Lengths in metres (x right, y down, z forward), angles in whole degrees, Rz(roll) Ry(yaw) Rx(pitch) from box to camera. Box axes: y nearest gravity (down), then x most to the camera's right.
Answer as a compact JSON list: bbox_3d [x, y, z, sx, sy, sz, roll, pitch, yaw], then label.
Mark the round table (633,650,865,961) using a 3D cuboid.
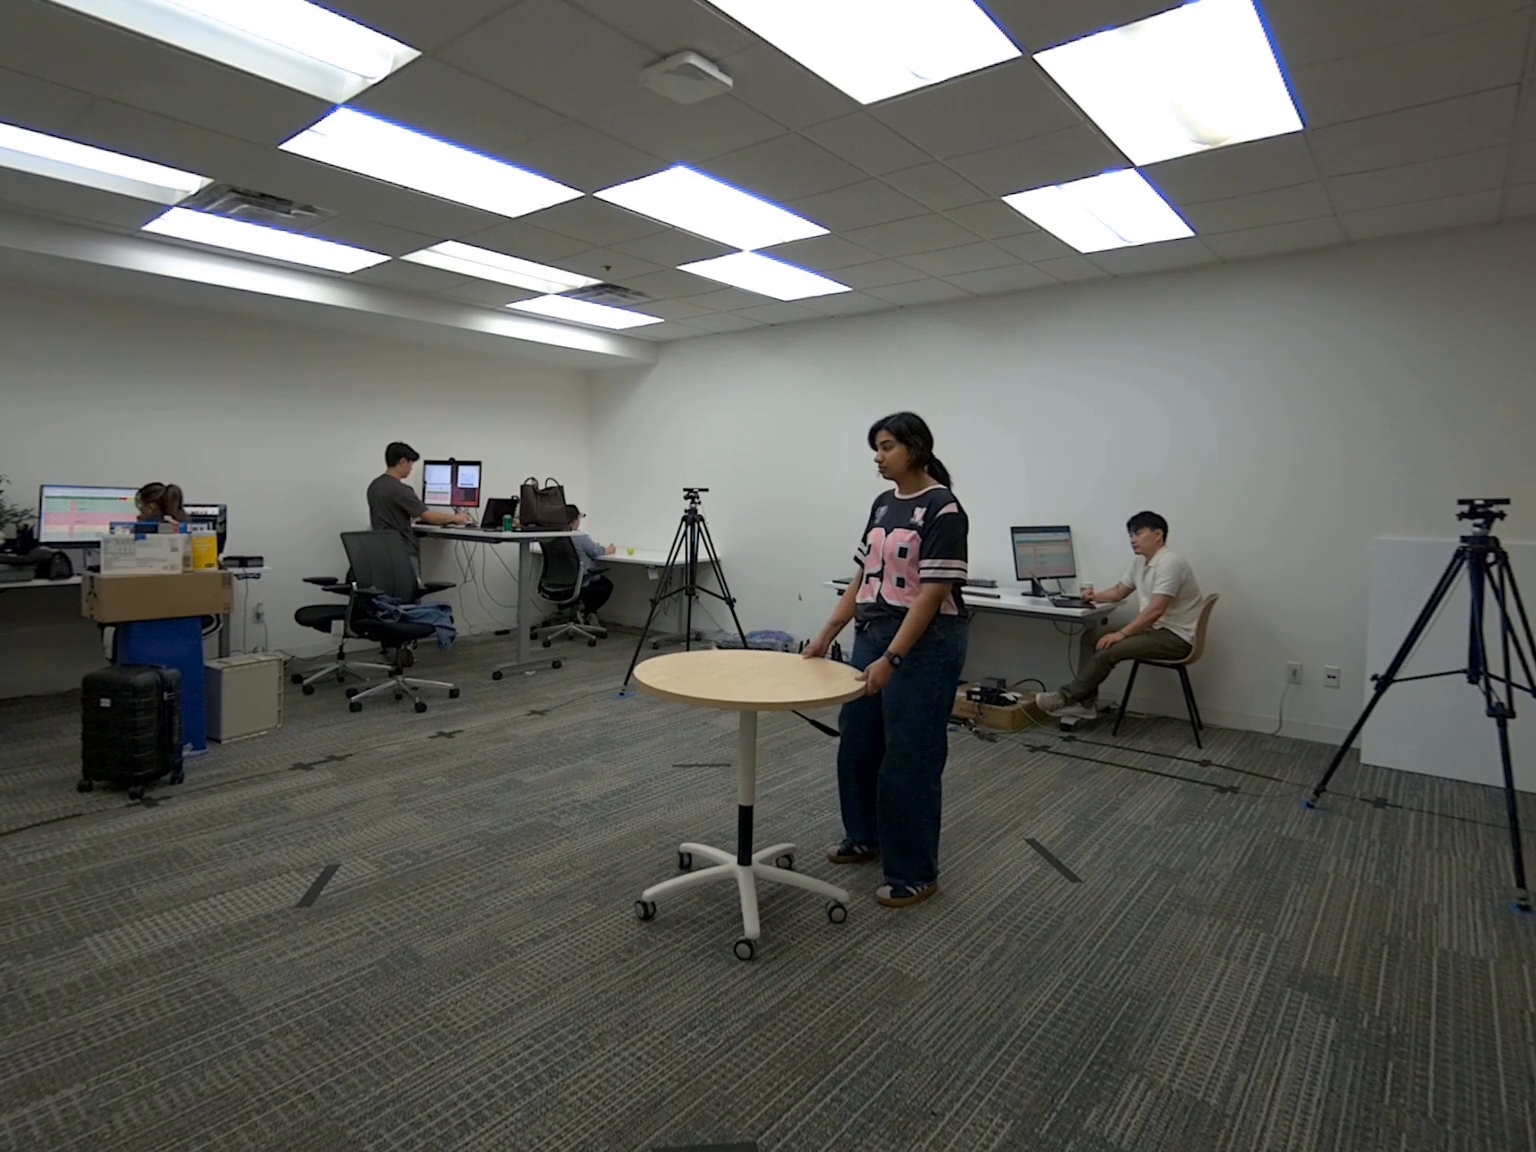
[{"bbox_3d":[-0.086,0.711,2.841,0.763,0.791,0.768,2,4,-2],"label":"round table"}]
